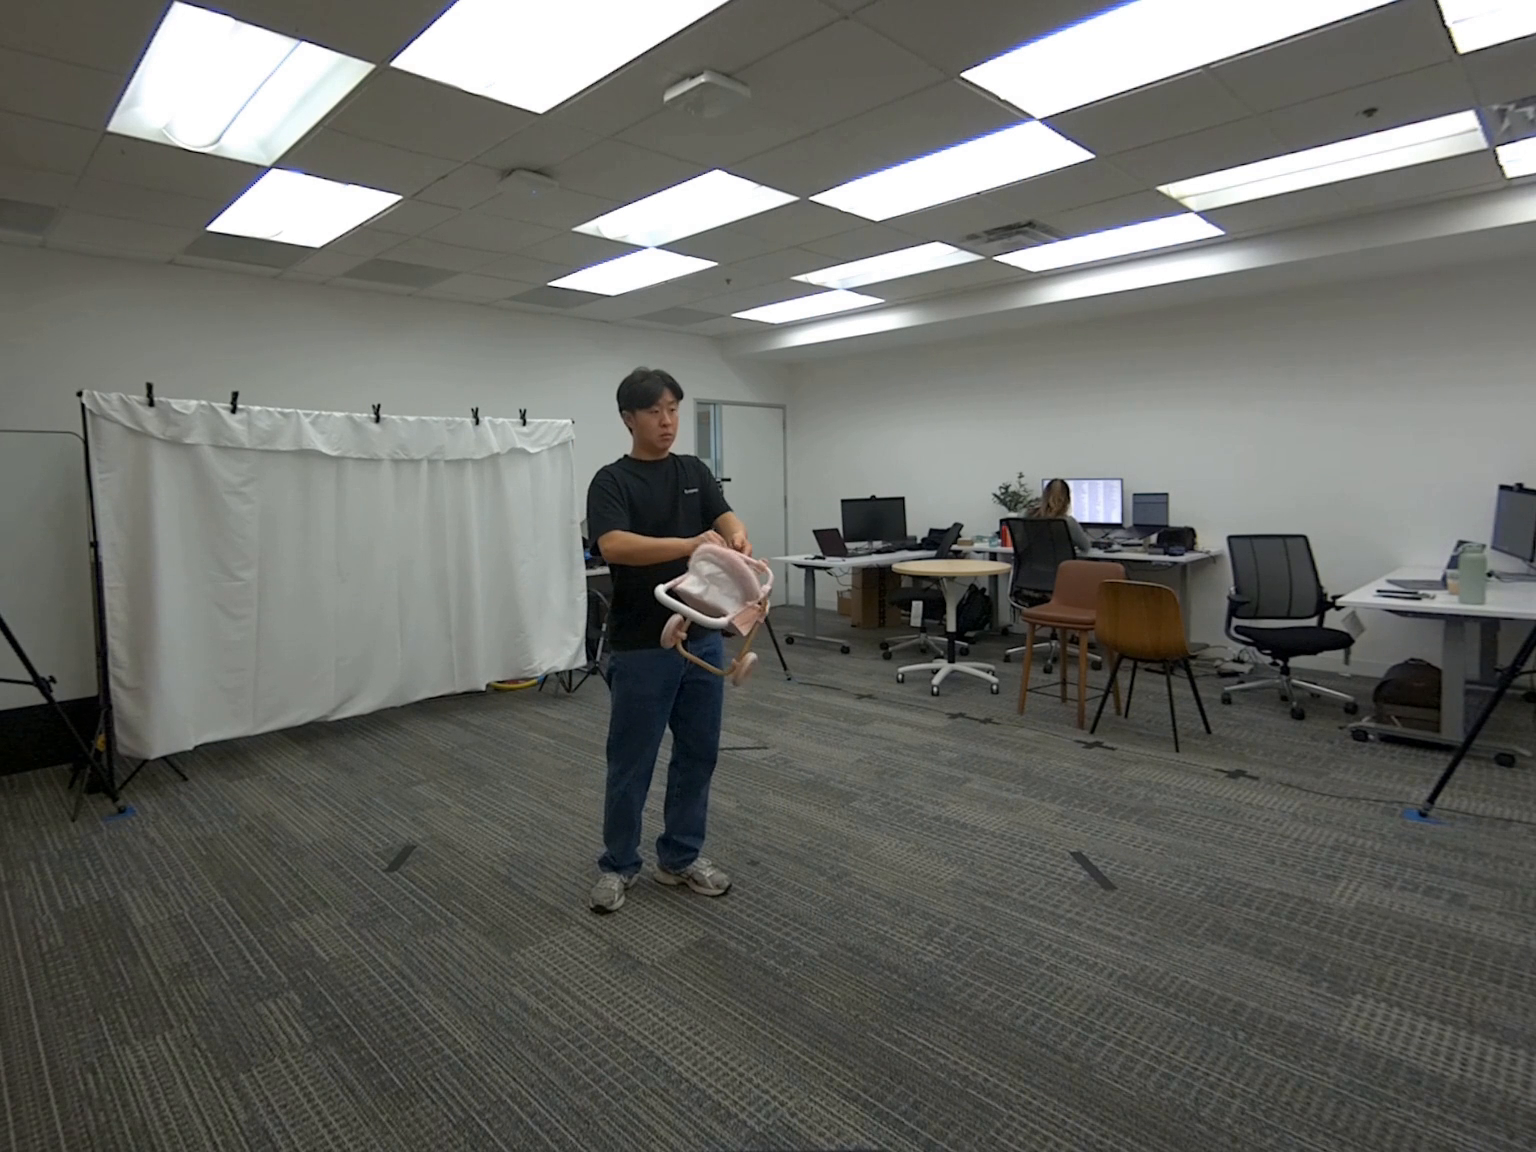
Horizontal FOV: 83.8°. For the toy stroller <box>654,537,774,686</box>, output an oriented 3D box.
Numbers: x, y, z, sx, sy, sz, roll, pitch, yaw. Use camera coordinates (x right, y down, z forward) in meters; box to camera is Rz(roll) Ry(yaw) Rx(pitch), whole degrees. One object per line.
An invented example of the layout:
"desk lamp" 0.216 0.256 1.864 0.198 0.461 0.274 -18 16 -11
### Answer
"toy stroller" -0.123 0.068 2.439 0.288 0.342 0.521 28 -22 16
